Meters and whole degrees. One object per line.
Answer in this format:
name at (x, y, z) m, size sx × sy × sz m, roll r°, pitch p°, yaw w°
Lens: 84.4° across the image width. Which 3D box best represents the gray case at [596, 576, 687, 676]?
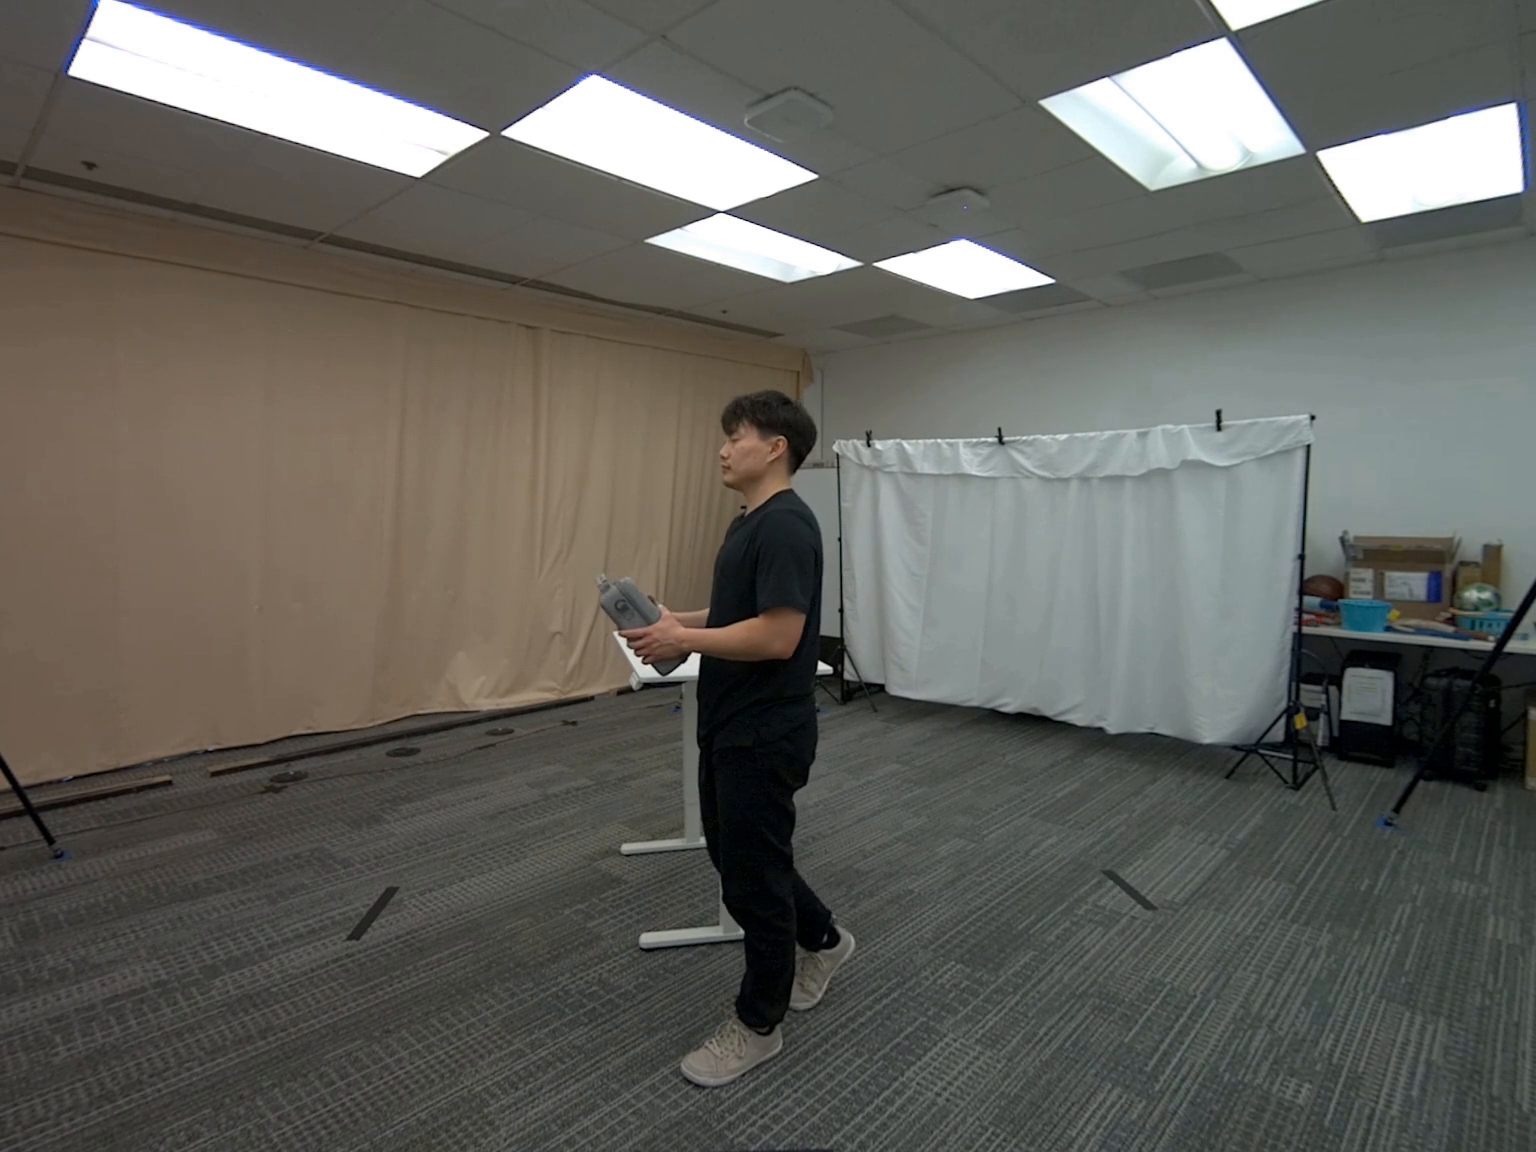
gray case at (-0.310, 0.124, 2.125) m, size 0.104 × 0.260 × 0.258 m, roll -40°, pitch 3°, yaw -9°
